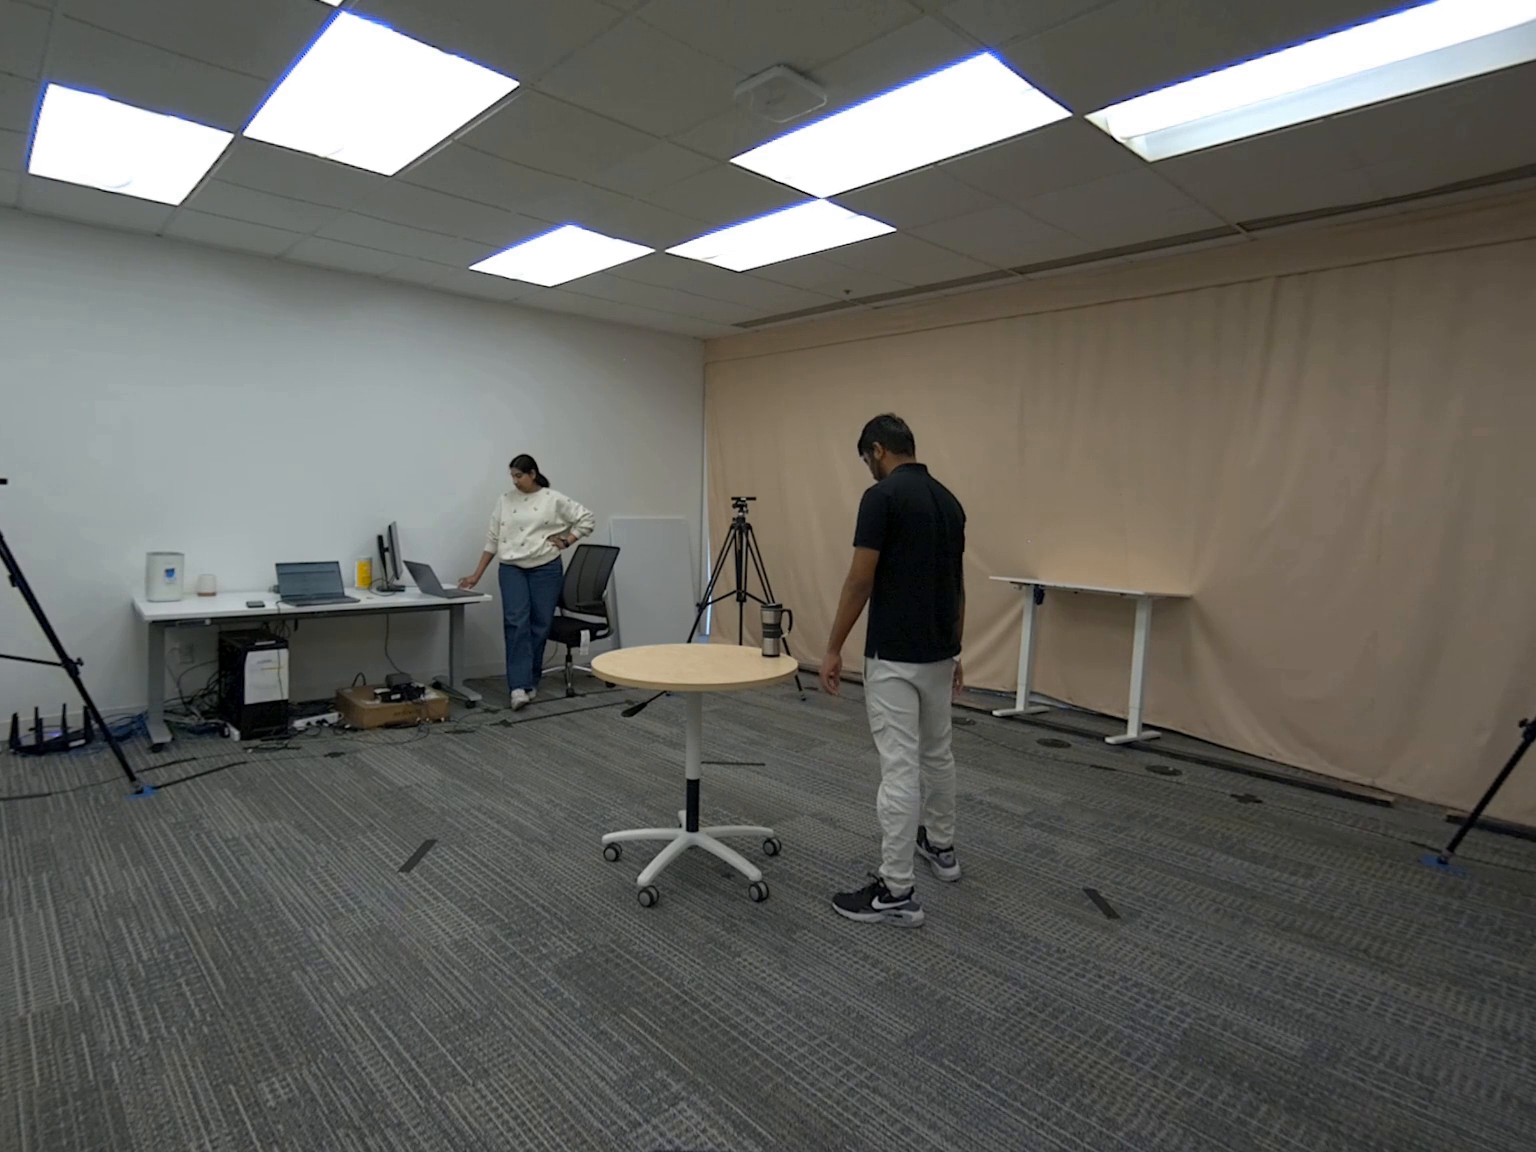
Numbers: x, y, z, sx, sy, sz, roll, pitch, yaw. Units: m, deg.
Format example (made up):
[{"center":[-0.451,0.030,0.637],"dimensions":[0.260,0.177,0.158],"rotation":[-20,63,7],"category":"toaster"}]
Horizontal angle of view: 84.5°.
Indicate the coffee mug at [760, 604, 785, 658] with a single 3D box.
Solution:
[{"center":[0.026,0.211,3.242],"dimensions":[0.124,0.203,0.086],"rotation":[-1,0,33],"category":"coffee mug"}]
